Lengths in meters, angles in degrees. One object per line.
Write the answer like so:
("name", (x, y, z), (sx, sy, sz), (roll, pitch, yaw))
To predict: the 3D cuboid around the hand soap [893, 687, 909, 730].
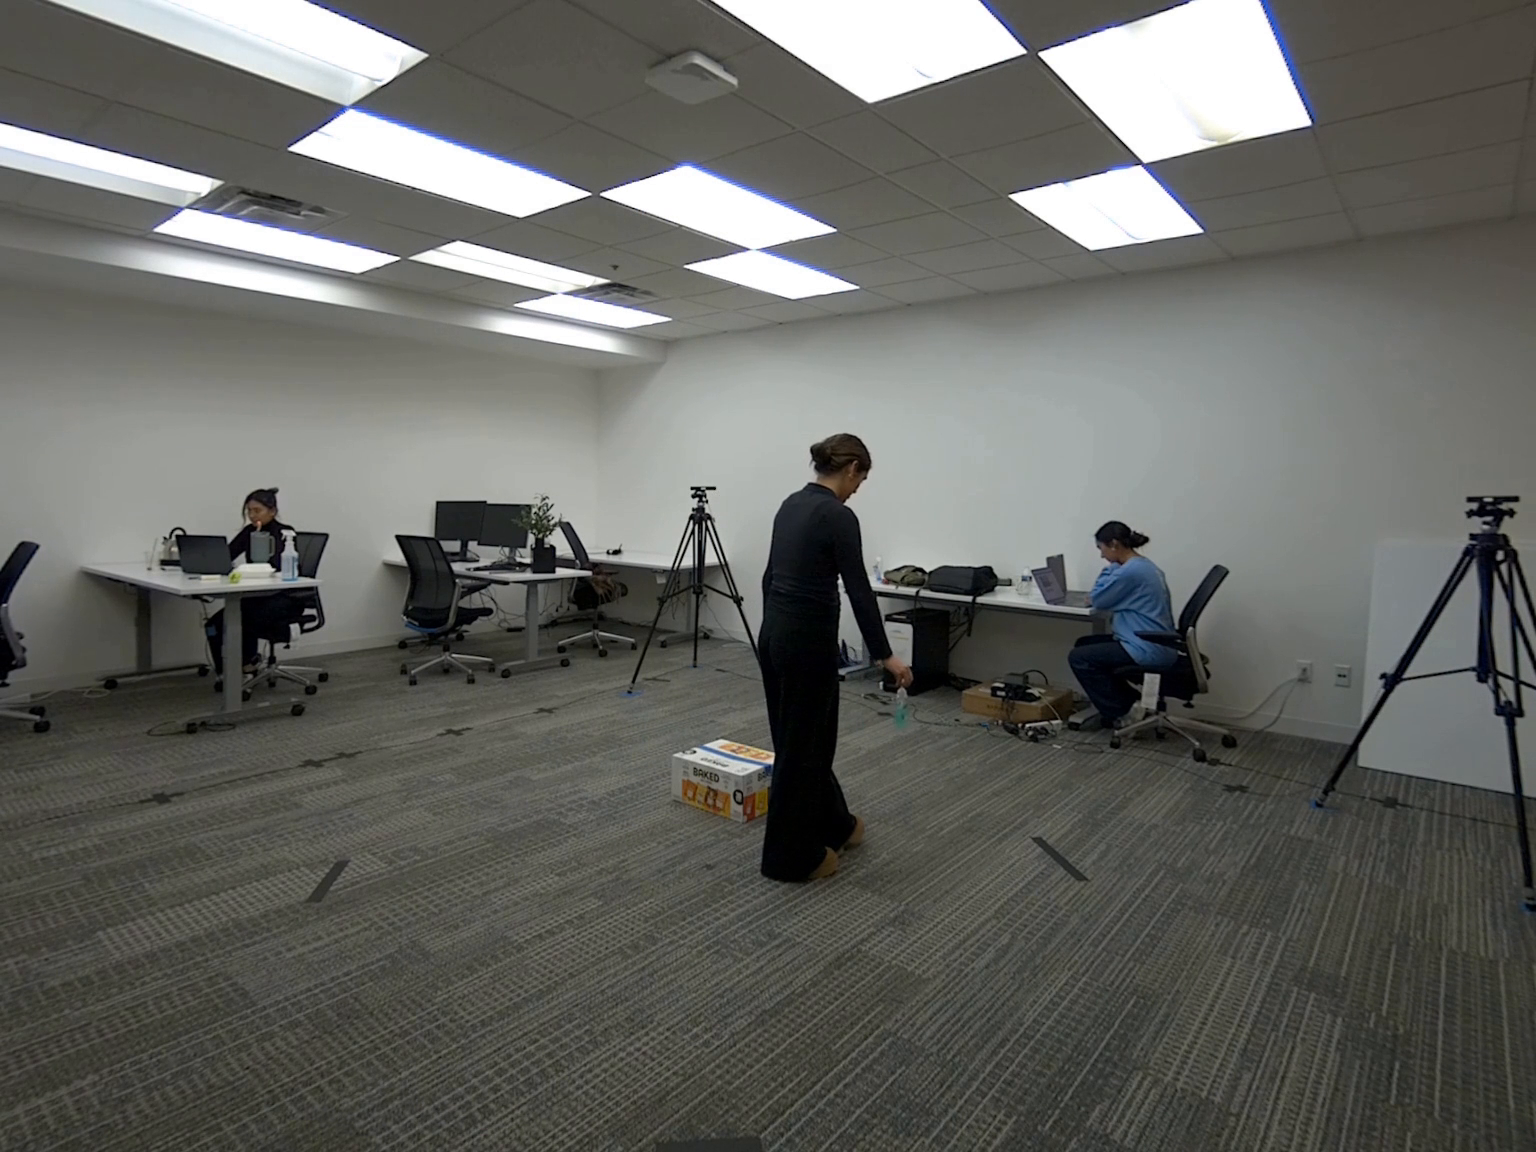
("hand soap", (0.466, 0.443, 2.992), (0.044, 0.167, 0.083), (5, 4, 13))
